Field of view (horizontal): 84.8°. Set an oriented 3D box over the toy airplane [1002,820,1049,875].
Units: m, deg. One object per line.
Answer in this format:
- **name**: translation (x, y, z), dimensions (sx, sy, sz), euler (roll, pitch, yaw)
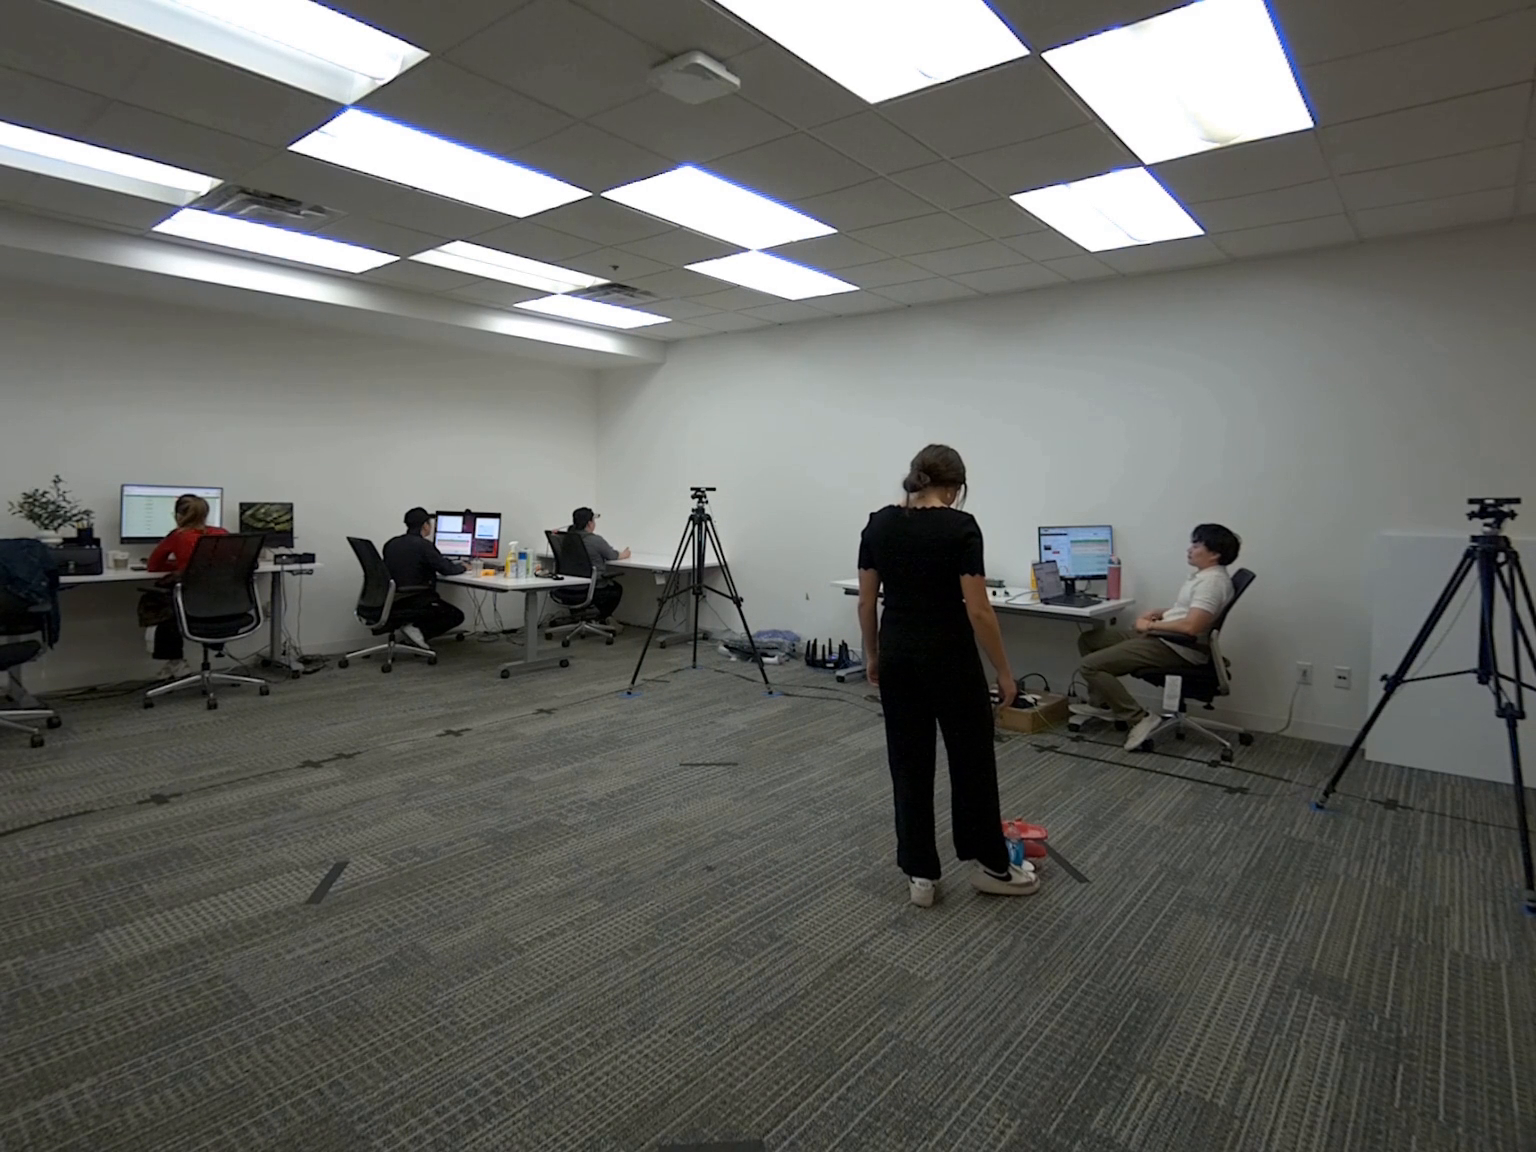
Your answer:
- **toy airplane**: translation (0.922, 1.011, 3.174), dimensions (0.246, 0.156, 0.265), euler (-1, 3, -19)
